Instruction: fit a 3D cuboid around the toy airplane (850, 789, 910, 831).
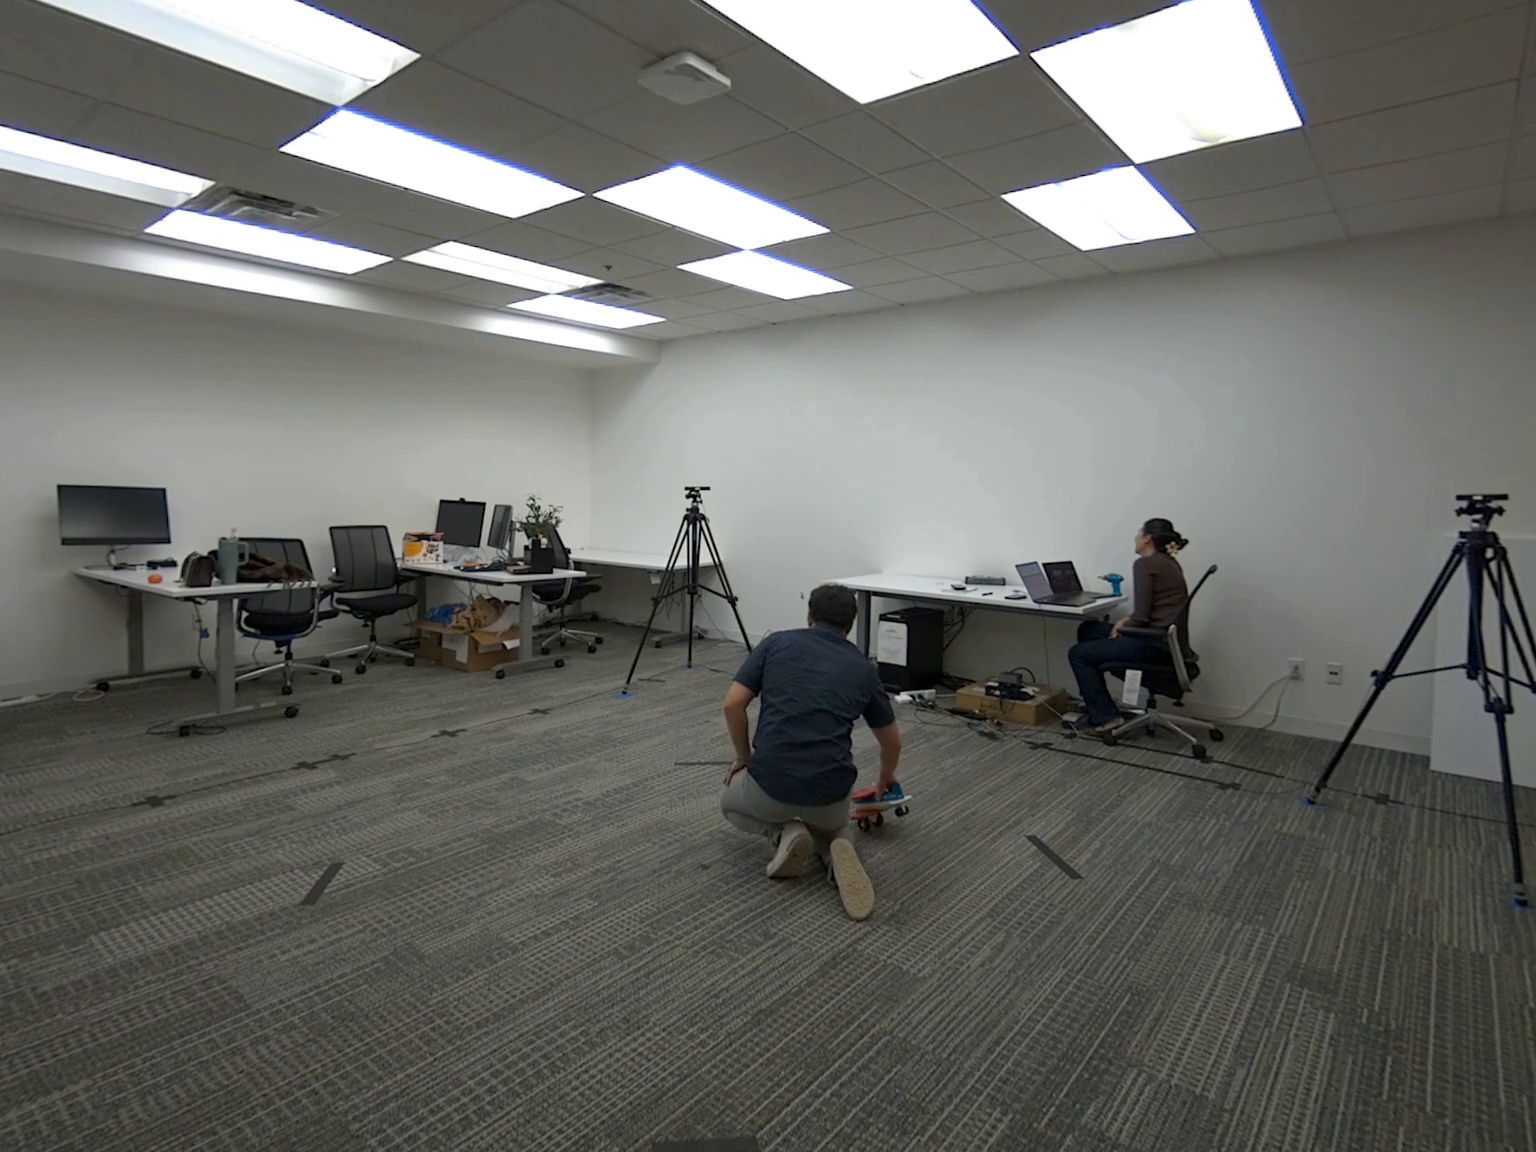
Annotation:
[{"bbox_3d":[0.456,0.931,3.494,0.261,0.160,0.243,-27,-19,13],"label":"toy airplane"}]
